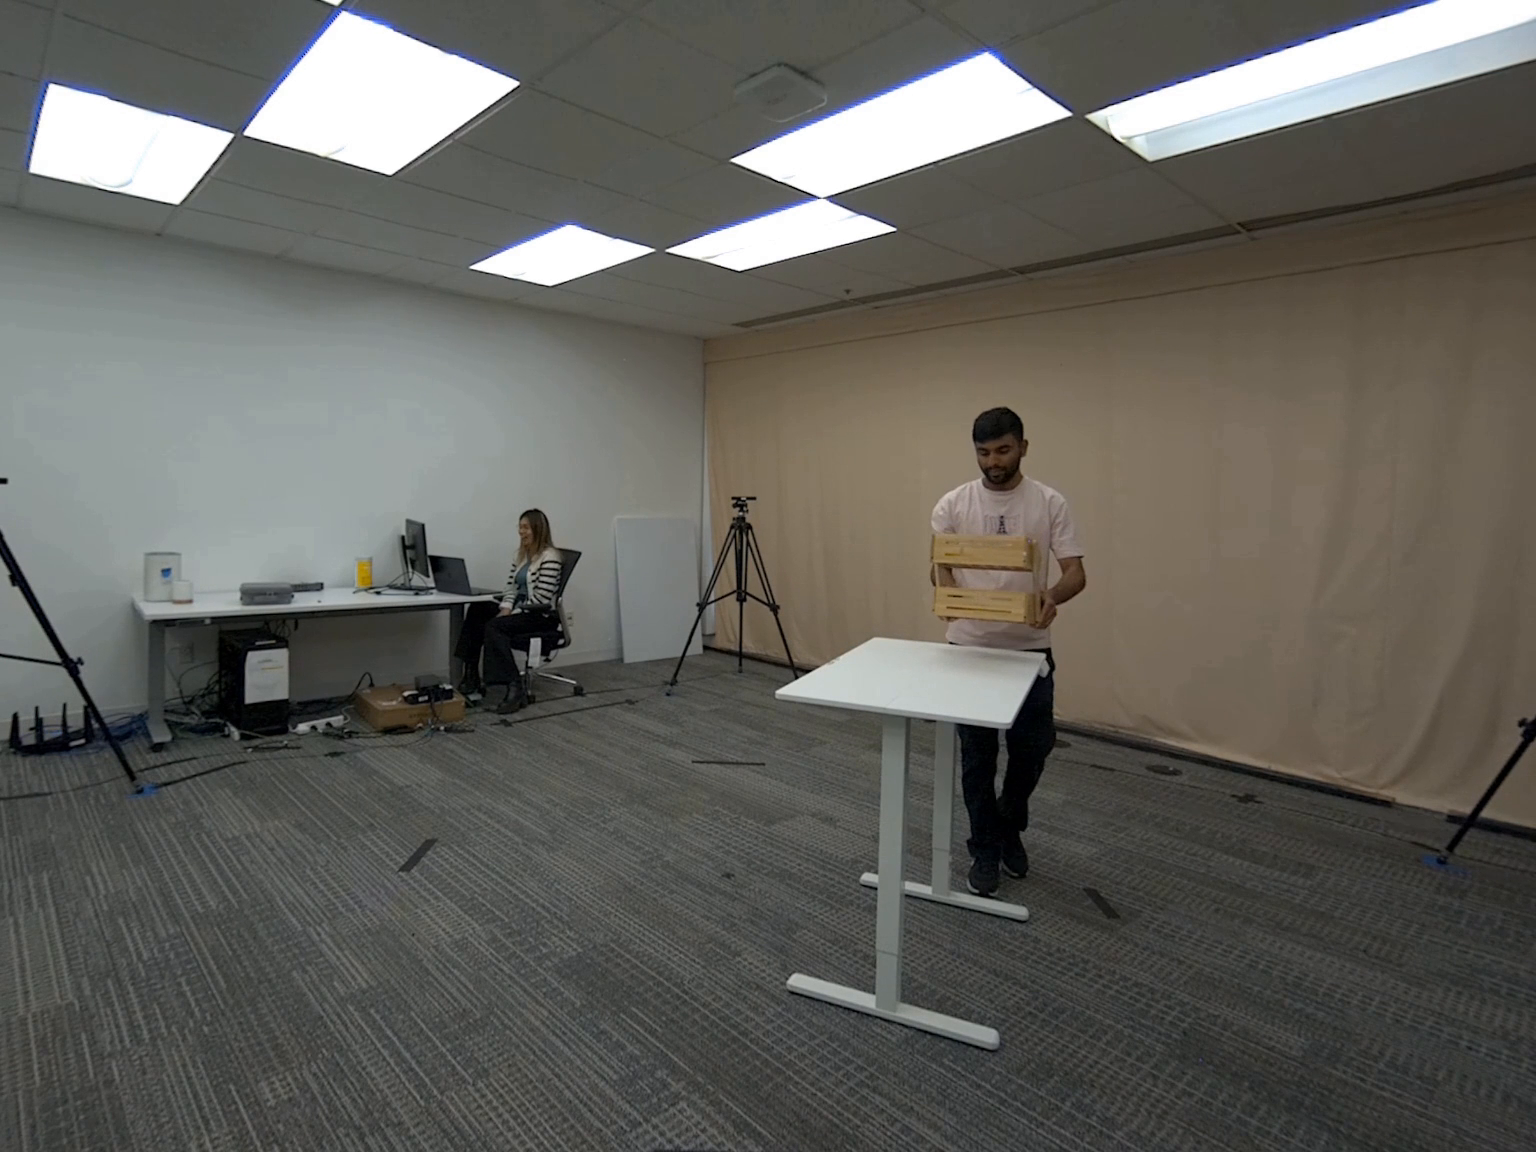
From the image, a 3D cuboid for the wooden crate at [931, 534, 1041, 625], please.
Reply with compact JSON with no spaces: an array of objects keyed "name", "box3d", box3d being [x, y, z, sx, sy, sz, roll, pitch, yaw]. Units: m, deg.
[{"name":"wooden crate","box3d":[0.718,0.008,2.757,0.331,0.274,0.295,3,-3,30]}]
